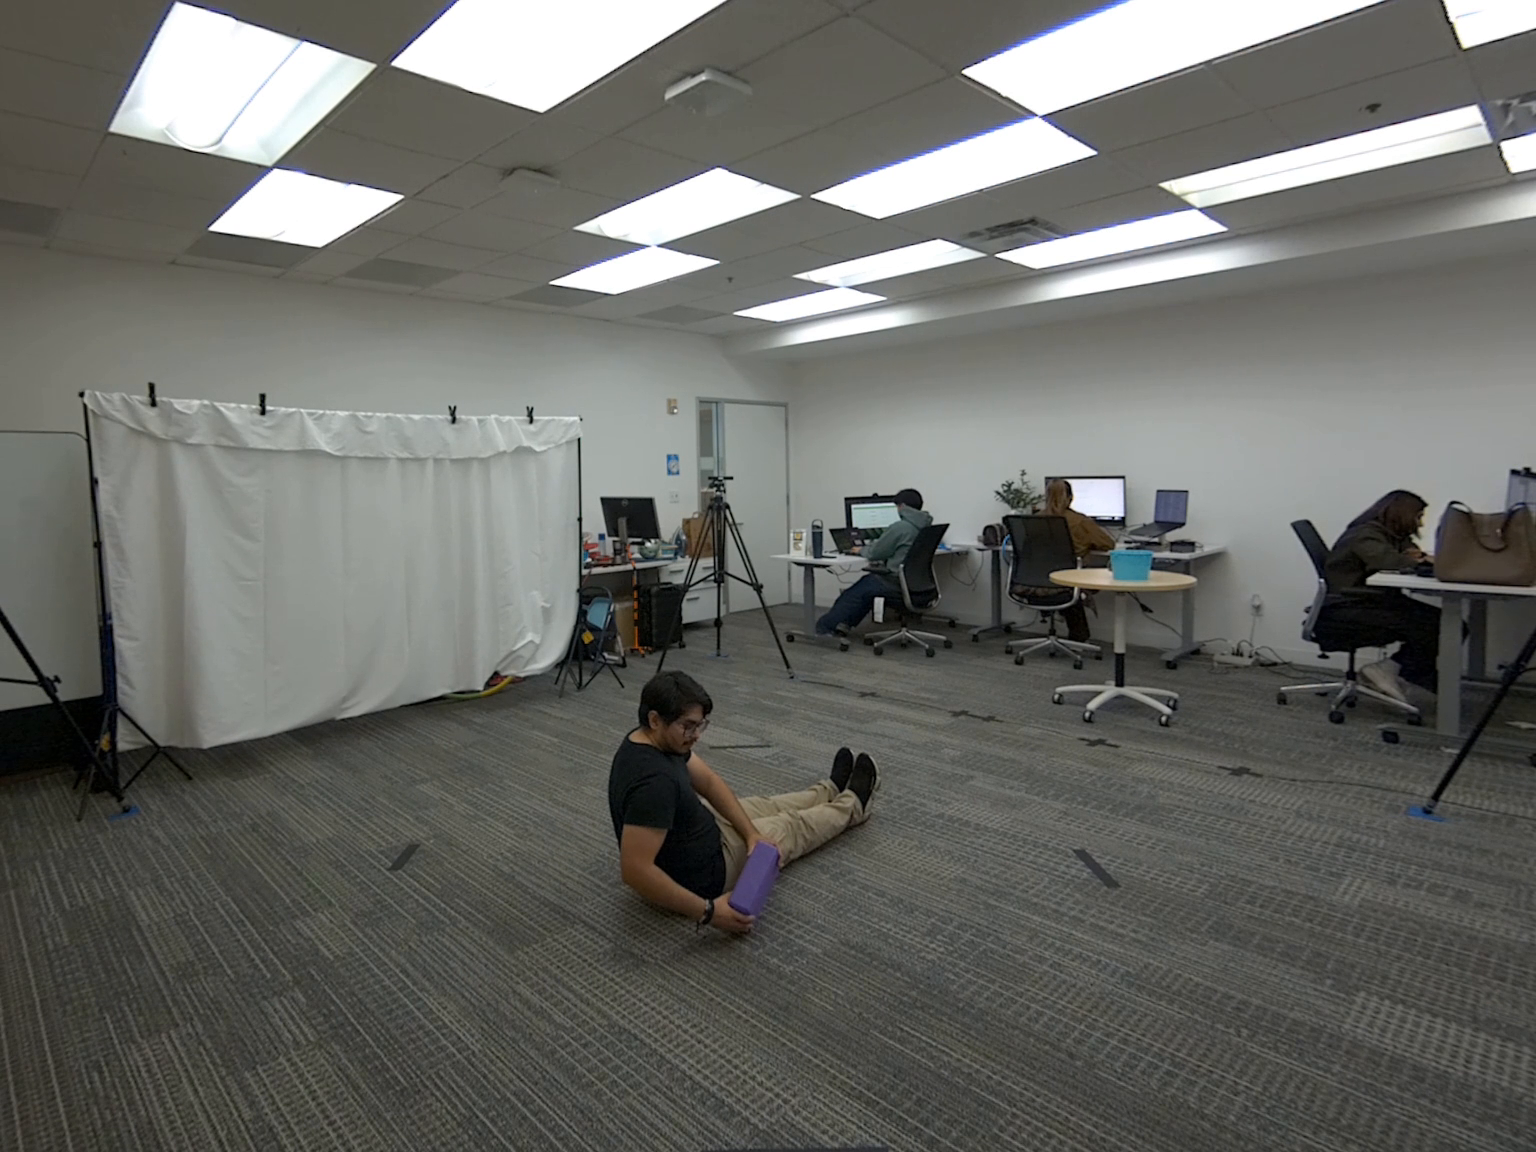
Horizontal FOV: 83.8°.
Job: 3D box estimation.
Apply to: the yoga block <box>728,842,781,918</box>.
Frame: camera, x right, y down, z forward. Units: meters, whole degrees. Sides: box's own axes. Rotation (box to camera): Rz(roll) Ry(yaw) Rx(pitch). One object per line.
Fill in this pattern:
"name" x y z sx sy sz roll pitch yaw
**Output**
"yoga block" -0.053 0.968 2.662 0.078 0.144 0.231 11 44 18
